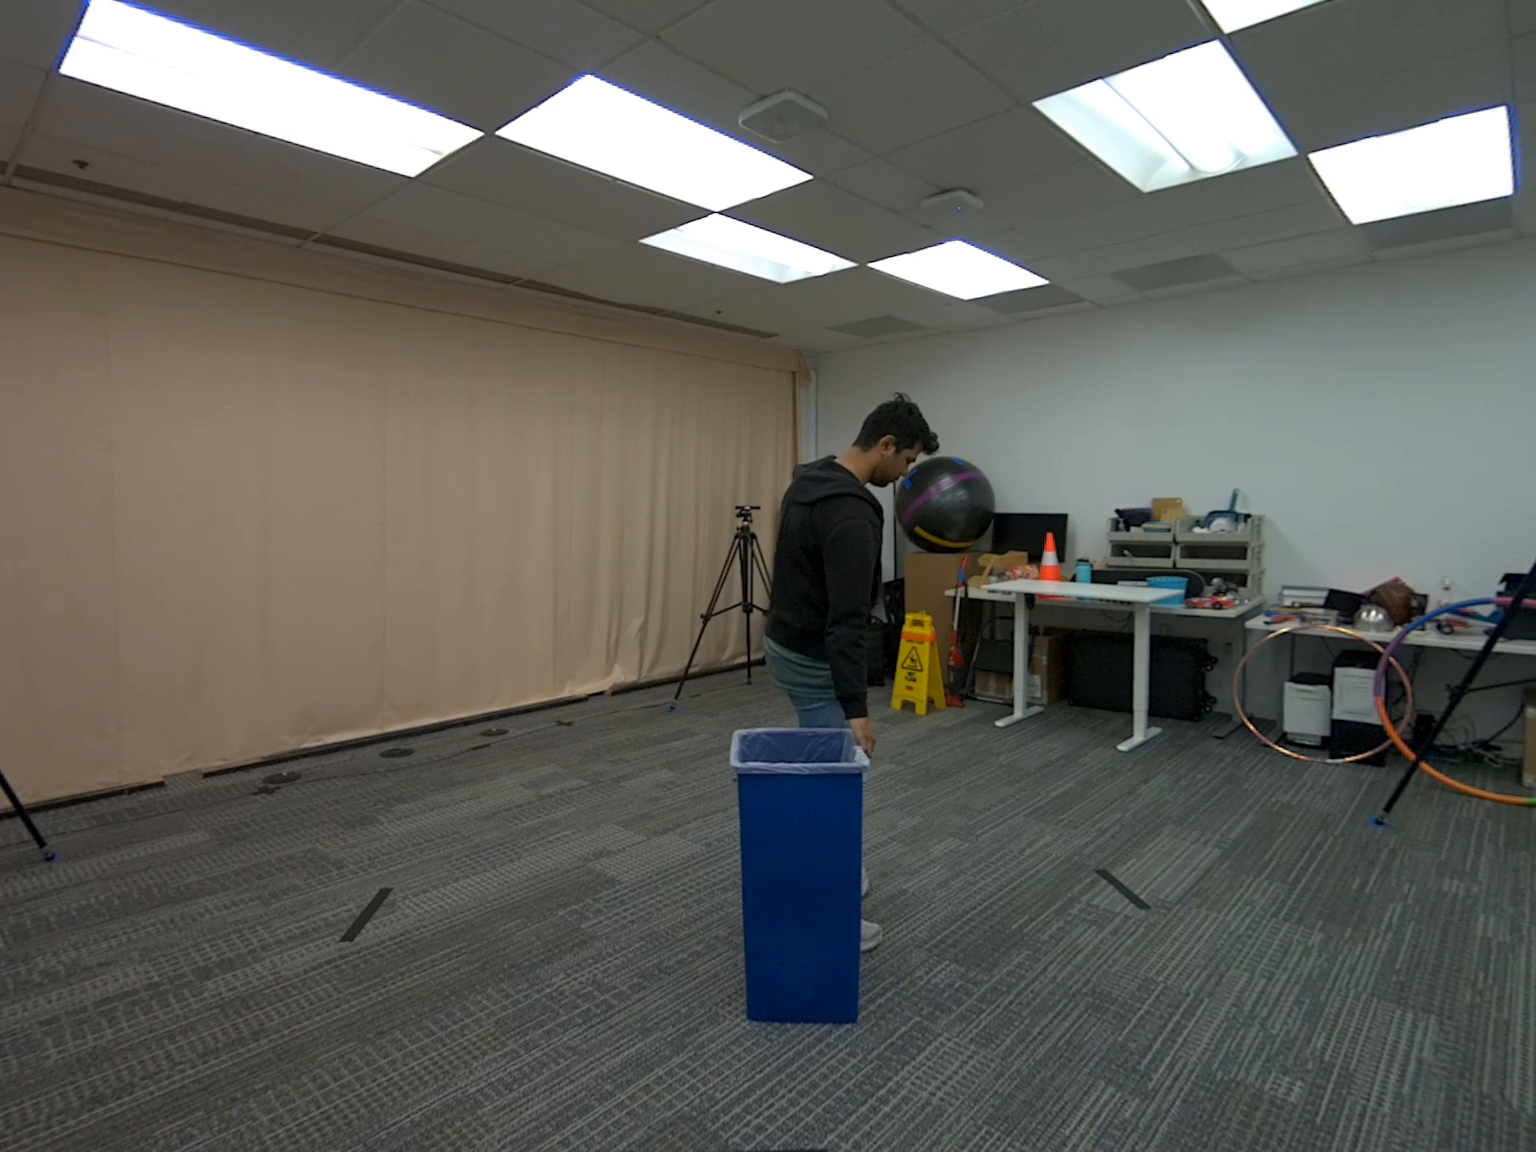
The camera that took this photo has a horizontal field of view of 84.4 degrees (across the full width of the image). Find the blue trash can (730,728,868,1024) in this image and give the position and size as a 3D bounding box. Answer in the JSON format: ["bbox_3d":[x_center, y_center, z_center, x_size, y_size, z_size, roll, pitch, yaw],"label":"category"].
[{"bbox_3d":[0.086,0.836,2.403,0.378,0.712,0.375,0,4,0],"label":"blue trash can"}]
